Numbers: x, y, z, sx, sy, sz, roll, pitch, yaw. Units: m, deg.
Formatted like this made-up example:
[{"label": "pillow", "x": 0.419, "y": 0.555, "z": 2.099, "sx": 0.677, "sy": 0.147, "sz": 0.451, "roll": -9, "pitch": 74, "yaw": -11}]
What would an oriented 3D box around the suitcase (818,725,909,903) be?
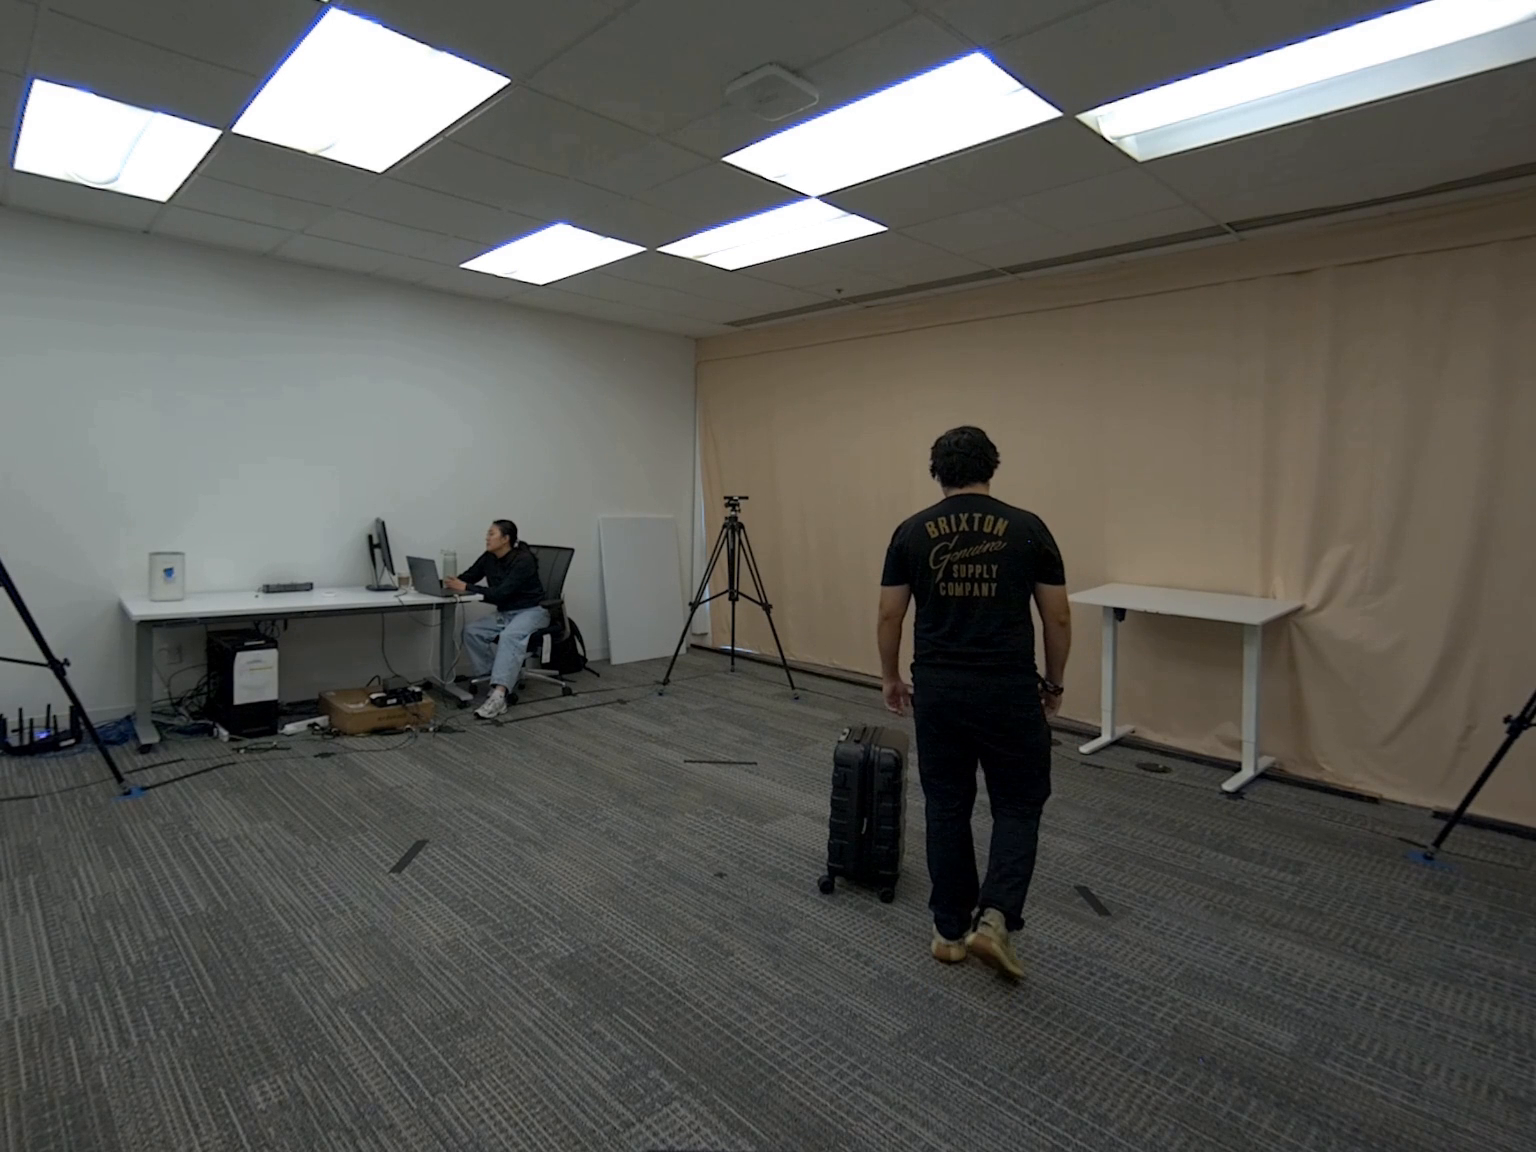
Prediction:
[{"label": "suitcase", "x": 0.366, "y": 0.840, "z": 3.088, "sx": 0.251, "sy": 0.548, "sz": 0.372, "roll": 4, "pitch": 4, "yaw": 14}]
